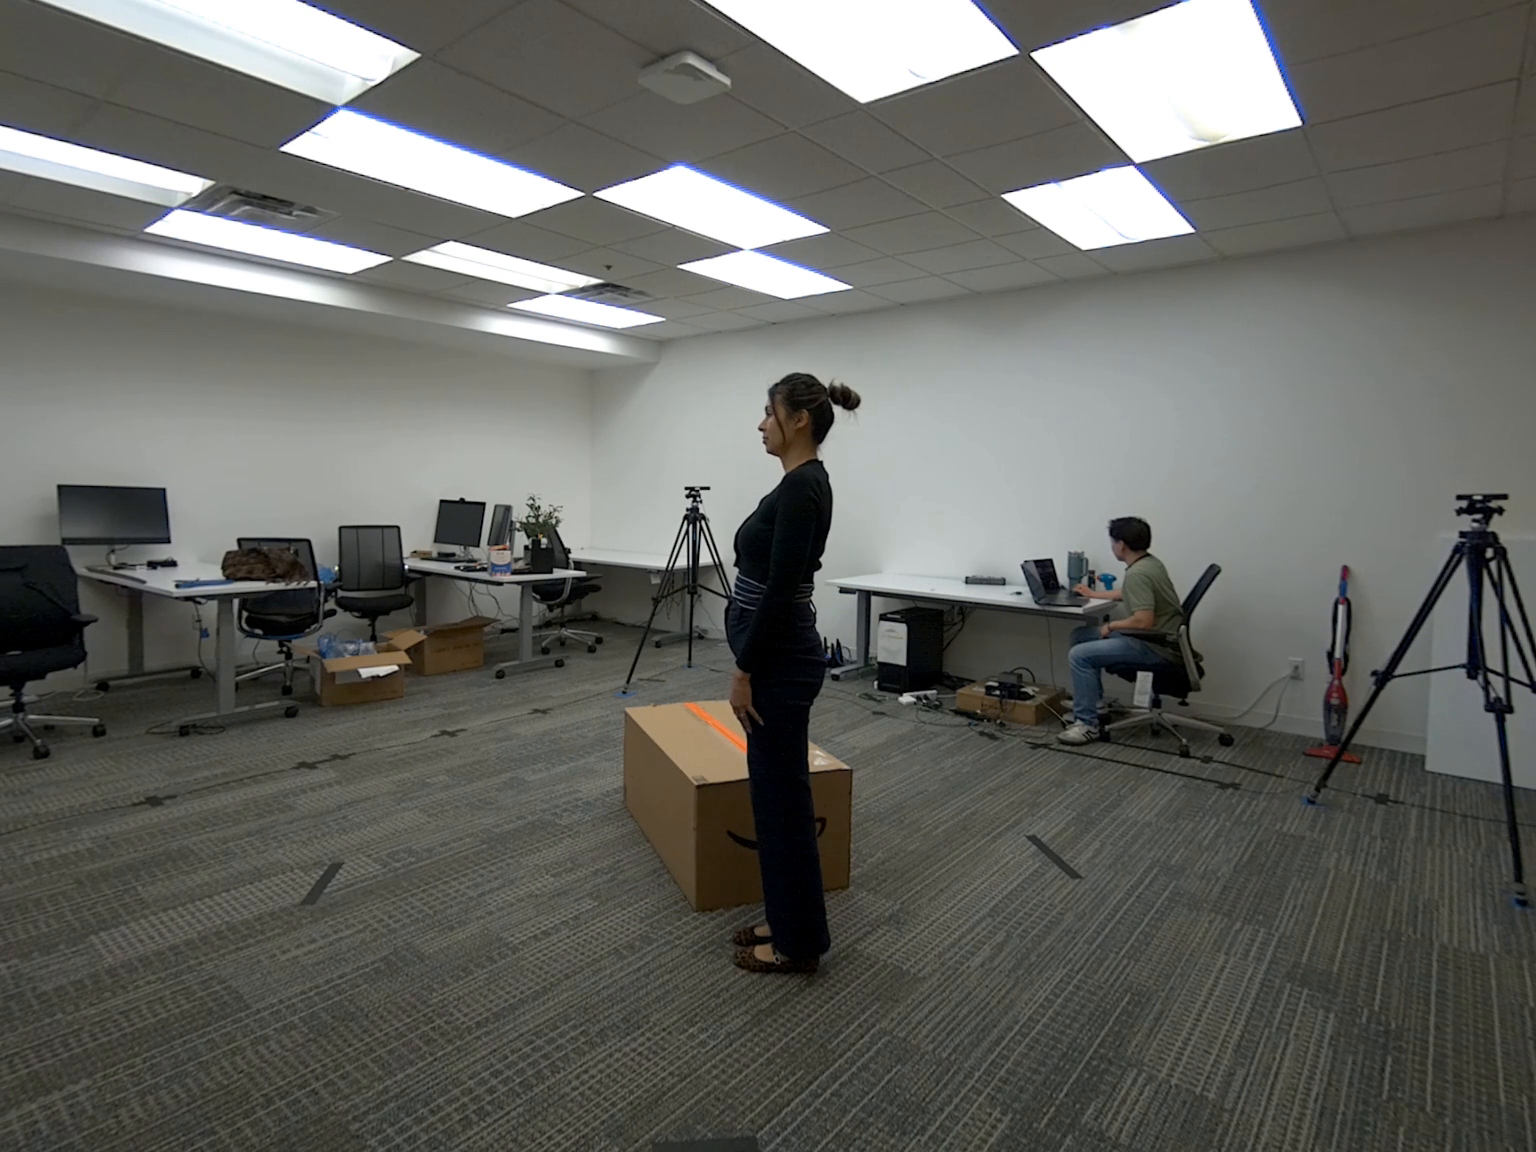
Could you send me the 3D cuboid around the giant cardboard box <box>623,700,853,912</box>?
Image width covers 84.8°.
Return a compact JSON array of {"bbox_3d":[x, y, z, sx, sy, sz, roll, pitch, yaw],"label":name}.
[{"bbox_3d":[-0.182,0.824,3.338,0.565,0.425,1.052,0,5,-22],"label":"giant cardboard box"}]
